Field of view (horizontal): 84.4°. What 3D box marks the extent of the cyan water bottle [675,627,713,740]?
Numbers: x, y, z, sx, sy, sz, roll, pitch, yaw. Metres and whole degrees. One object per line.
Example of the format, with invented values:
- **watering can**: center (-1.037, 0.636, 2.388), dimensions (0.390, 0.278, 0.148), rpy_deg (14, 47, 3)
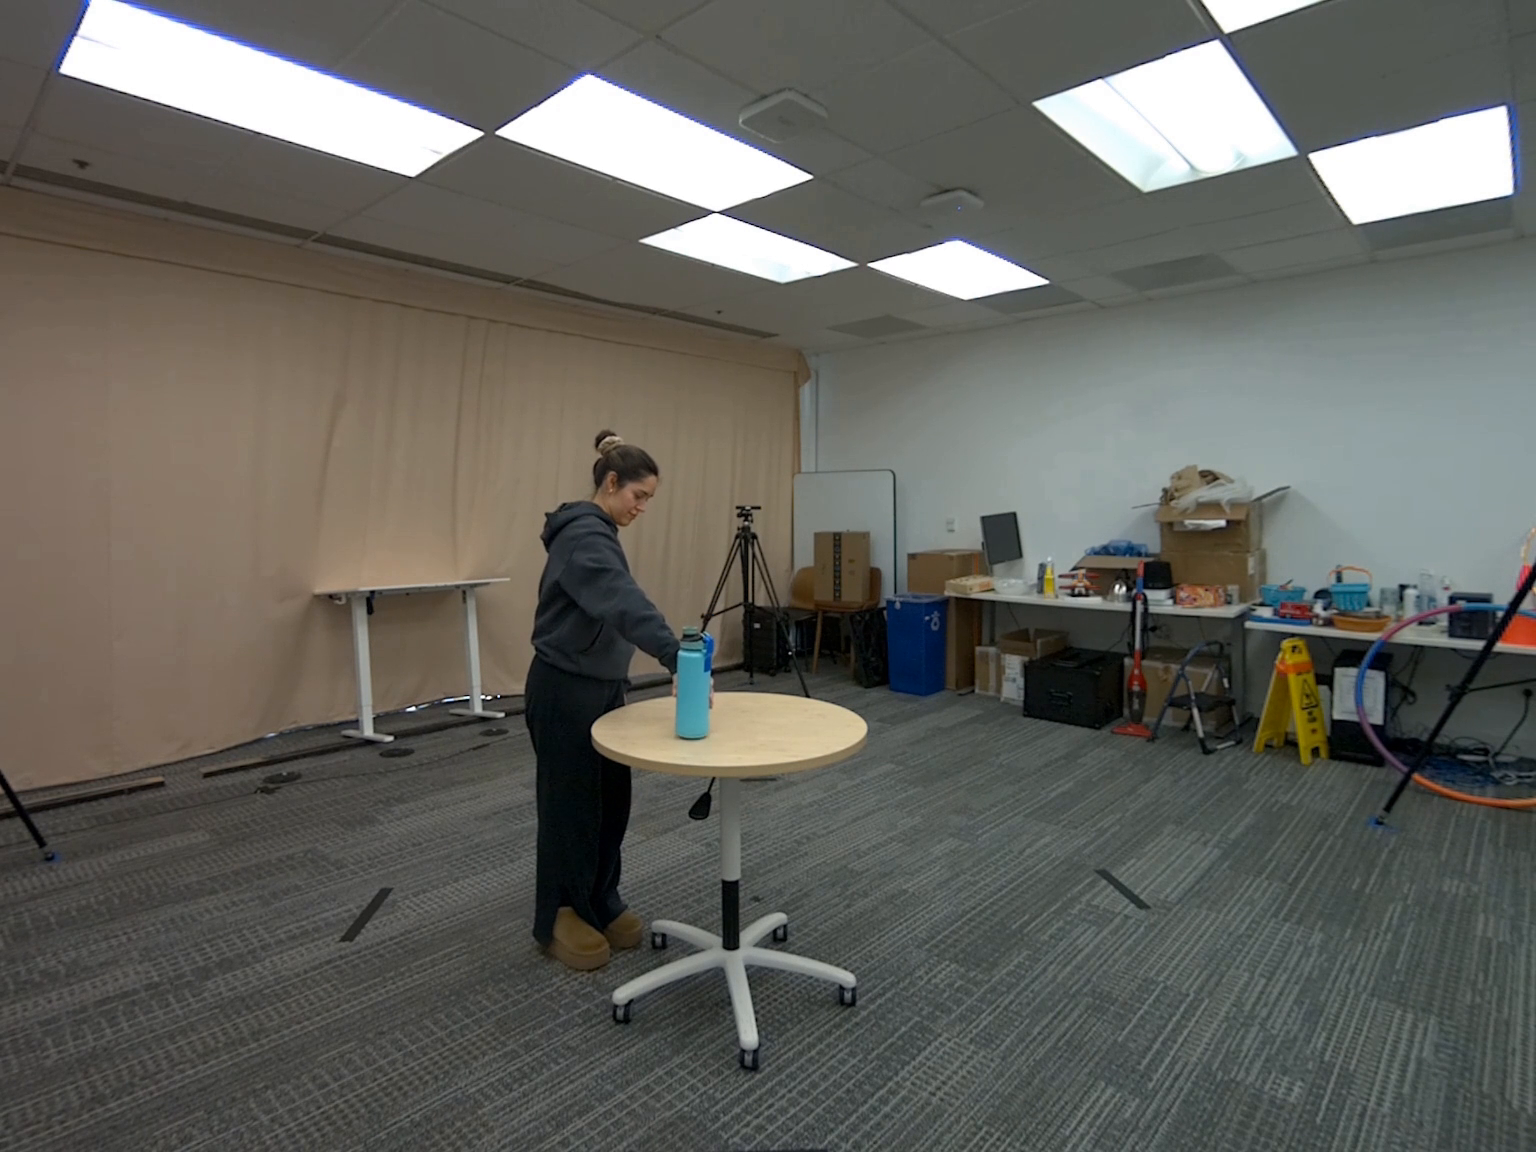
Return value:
- **cyan water bottle**: center (-0.182, 0.280, 2.221), dimensions (0.092, 0.283, 0.093), rpy_deg (4, 4, -2)
